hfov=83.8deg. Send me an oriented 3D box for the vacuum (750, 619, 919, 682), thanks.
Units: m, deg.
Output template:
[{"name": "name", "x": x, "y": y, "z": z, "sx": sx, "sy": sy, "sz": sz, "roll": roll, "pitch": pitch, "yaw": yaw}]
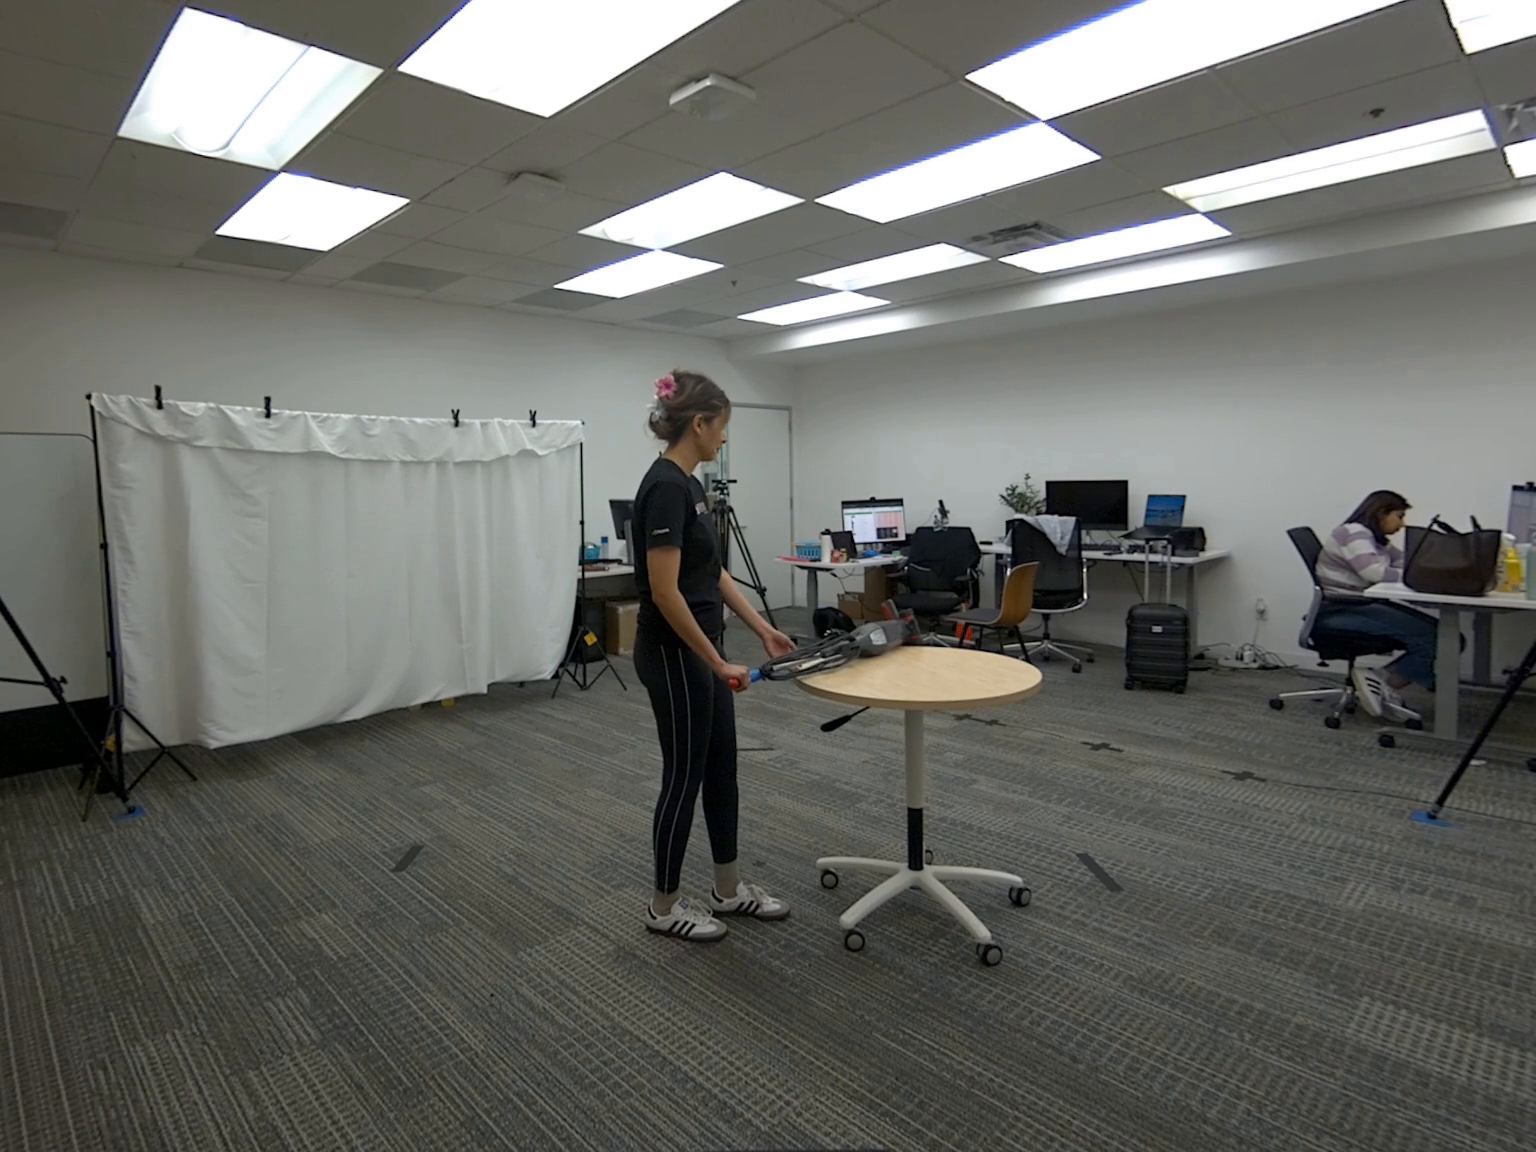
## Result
[{"name": "vacuum", "x": 0.220, "y": 0.261, "z": 2.787, "sx": 0.145, "sy": 0.257, "sz": 1.023, "roll": -37, "pitch": -16, "yaw": 34}]
